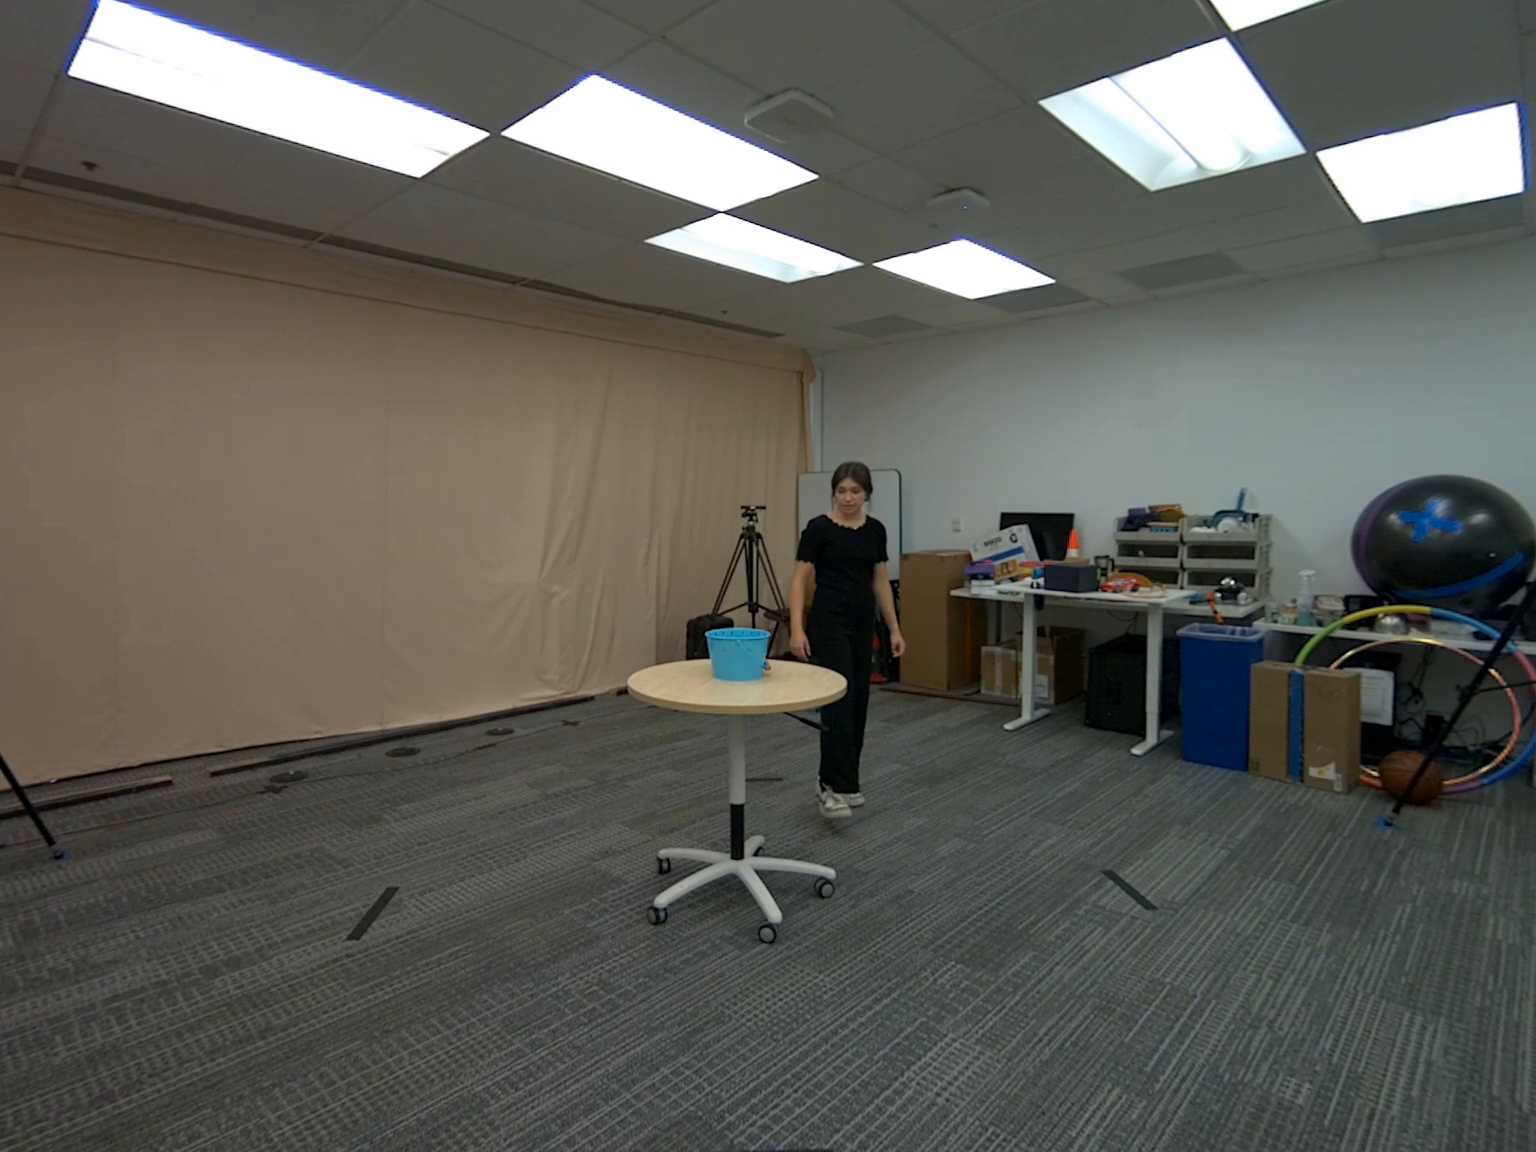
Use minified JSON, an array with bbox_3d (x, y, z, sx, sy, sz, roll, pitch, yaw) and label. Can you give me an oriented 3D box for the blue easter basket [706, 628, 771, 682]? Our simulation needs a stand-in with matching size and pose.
[{"bbox_3d":[-0.103,0.285,3.011,0.243,0.155,0.244,0,4,-2],"label":"blue easter basket"}]
